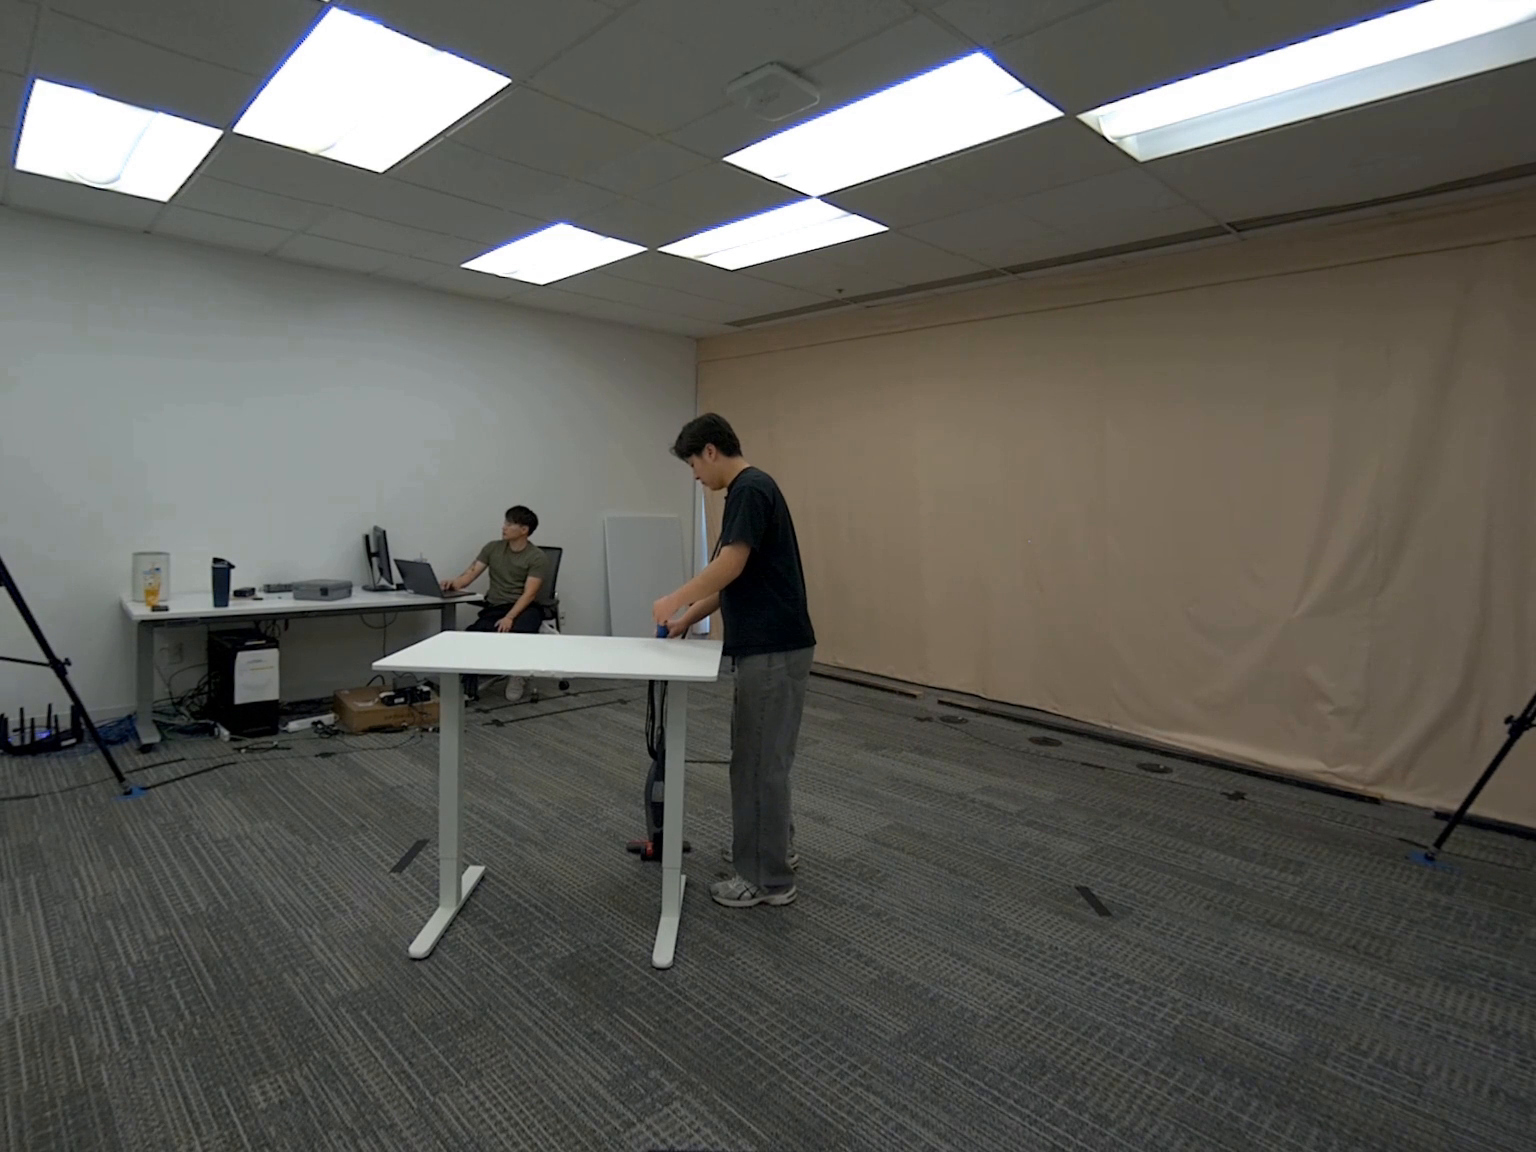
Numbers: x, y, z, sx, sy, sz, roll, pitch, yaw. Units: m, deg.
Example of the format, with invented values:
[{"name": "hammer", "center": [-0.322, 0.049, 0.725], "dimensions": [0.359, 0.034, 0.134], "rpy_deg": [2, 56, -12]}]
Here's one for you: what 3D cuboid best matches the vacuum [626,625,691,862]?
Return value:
[{"name": "vacuum", "center": [-0.411, 0.585, 3.122], "dimensions": [0.252, 1.037, 0.146], "rpy_deg": [1, 17, -3]}]
